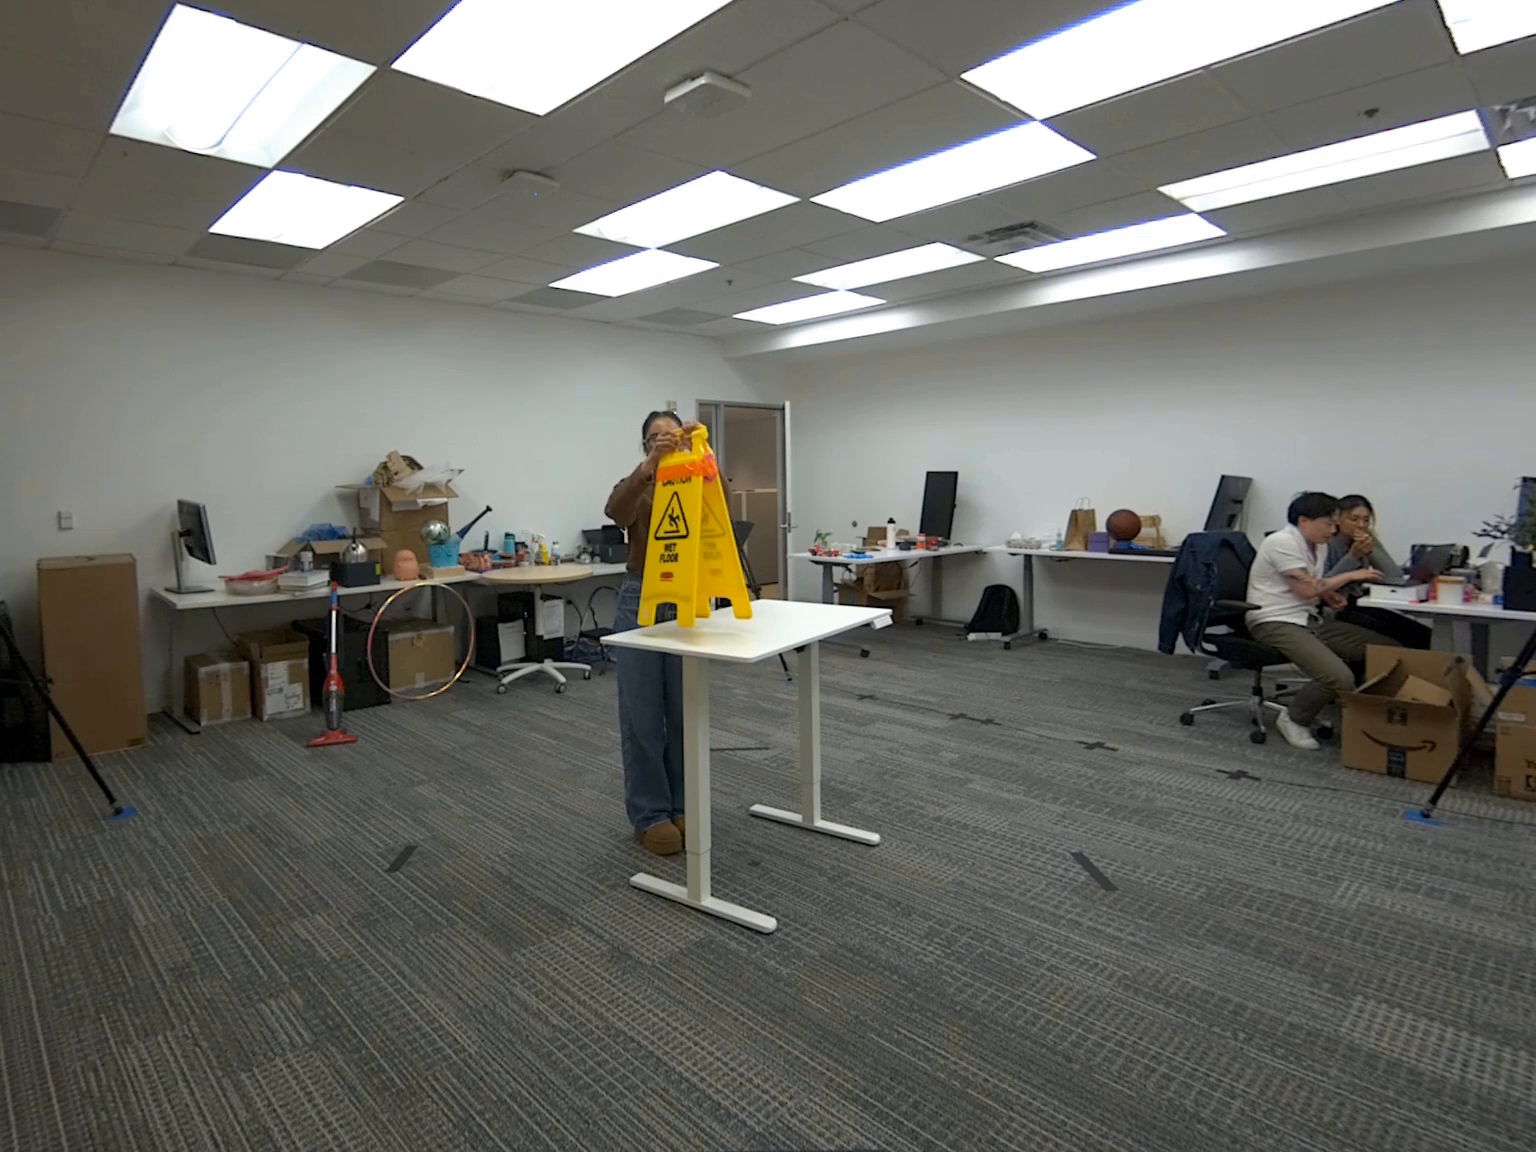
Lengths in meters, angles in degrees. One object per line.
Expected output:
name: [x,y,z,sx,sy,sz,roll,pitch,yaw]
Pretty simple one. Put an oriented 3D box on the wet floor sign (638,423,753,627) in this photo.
wet floor sign: [-0.269,-0.170,2.853,0.281,0.647,0.290,-2,-2,-45]
